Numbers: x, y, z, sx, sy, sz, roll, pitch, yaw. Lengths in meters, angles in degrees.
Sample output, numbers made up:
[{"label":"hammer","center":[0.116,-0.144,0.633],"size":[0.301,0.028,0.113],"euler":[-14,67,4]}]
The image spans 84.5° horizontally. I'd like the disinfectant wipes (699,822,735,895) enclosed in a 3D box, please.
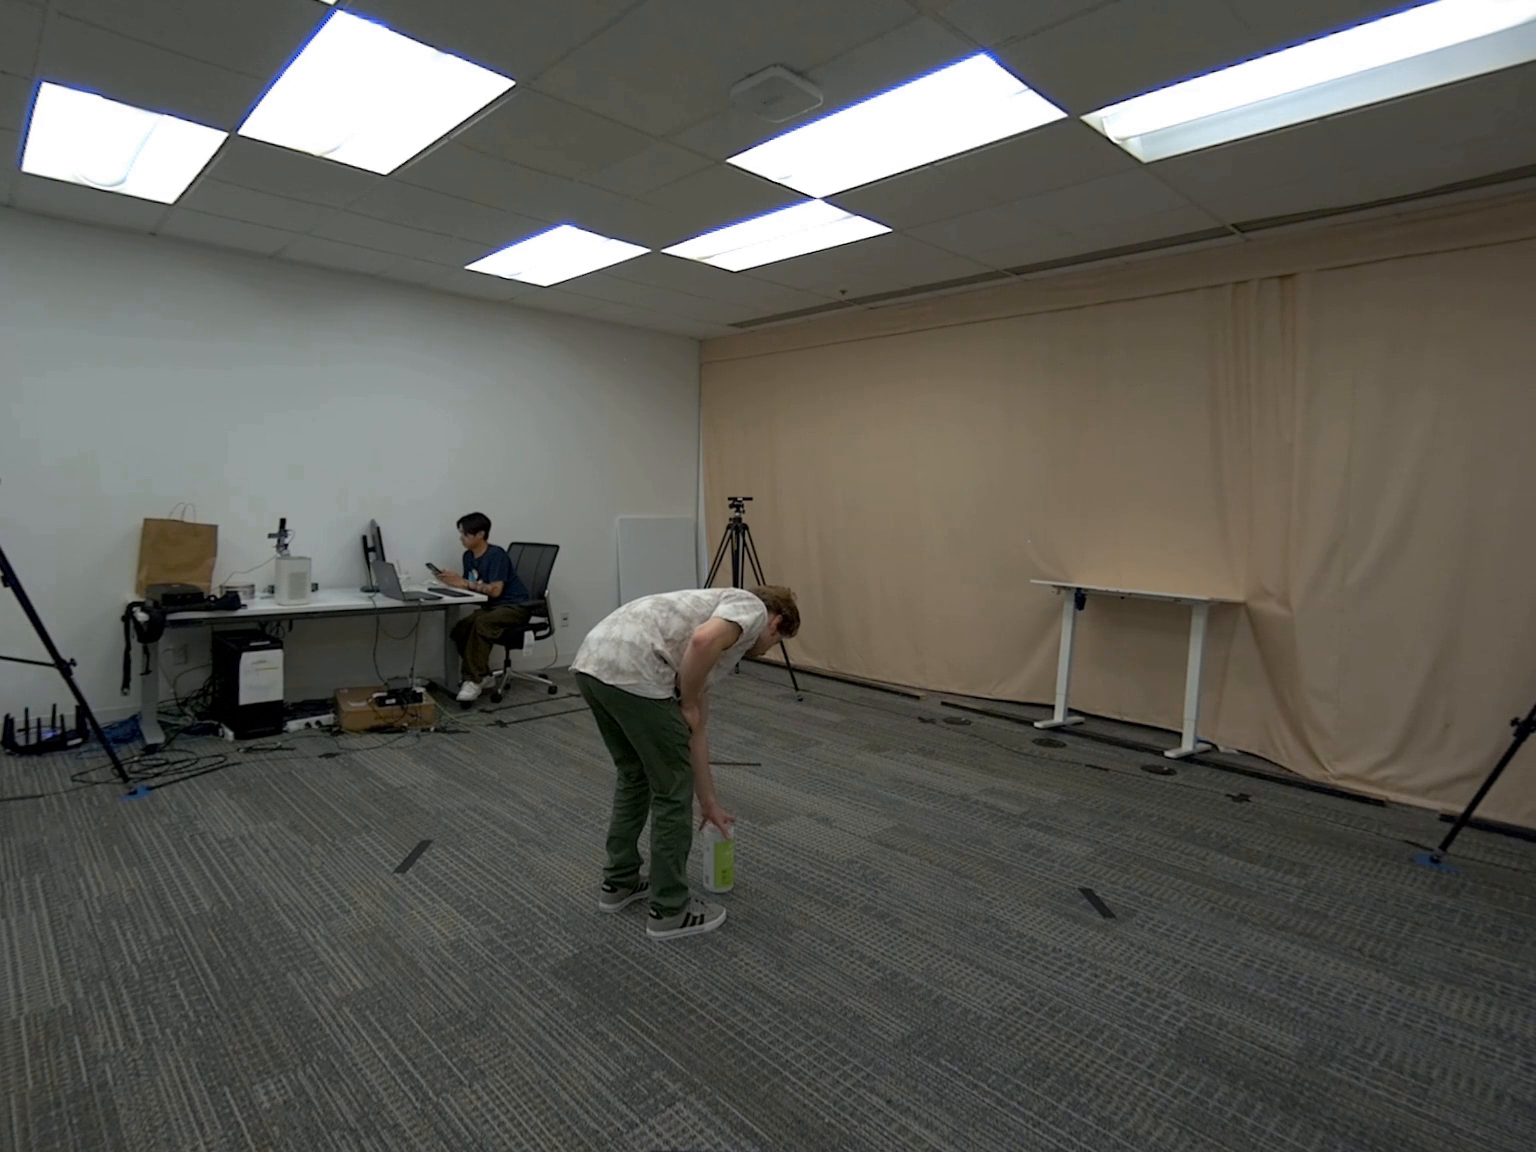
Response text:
[{"label":"disinfectant wipes","center":[-0.183,1.013,3.006],"size":[0.118,0.217,0.118],"euler":[1,3,-1]}]
